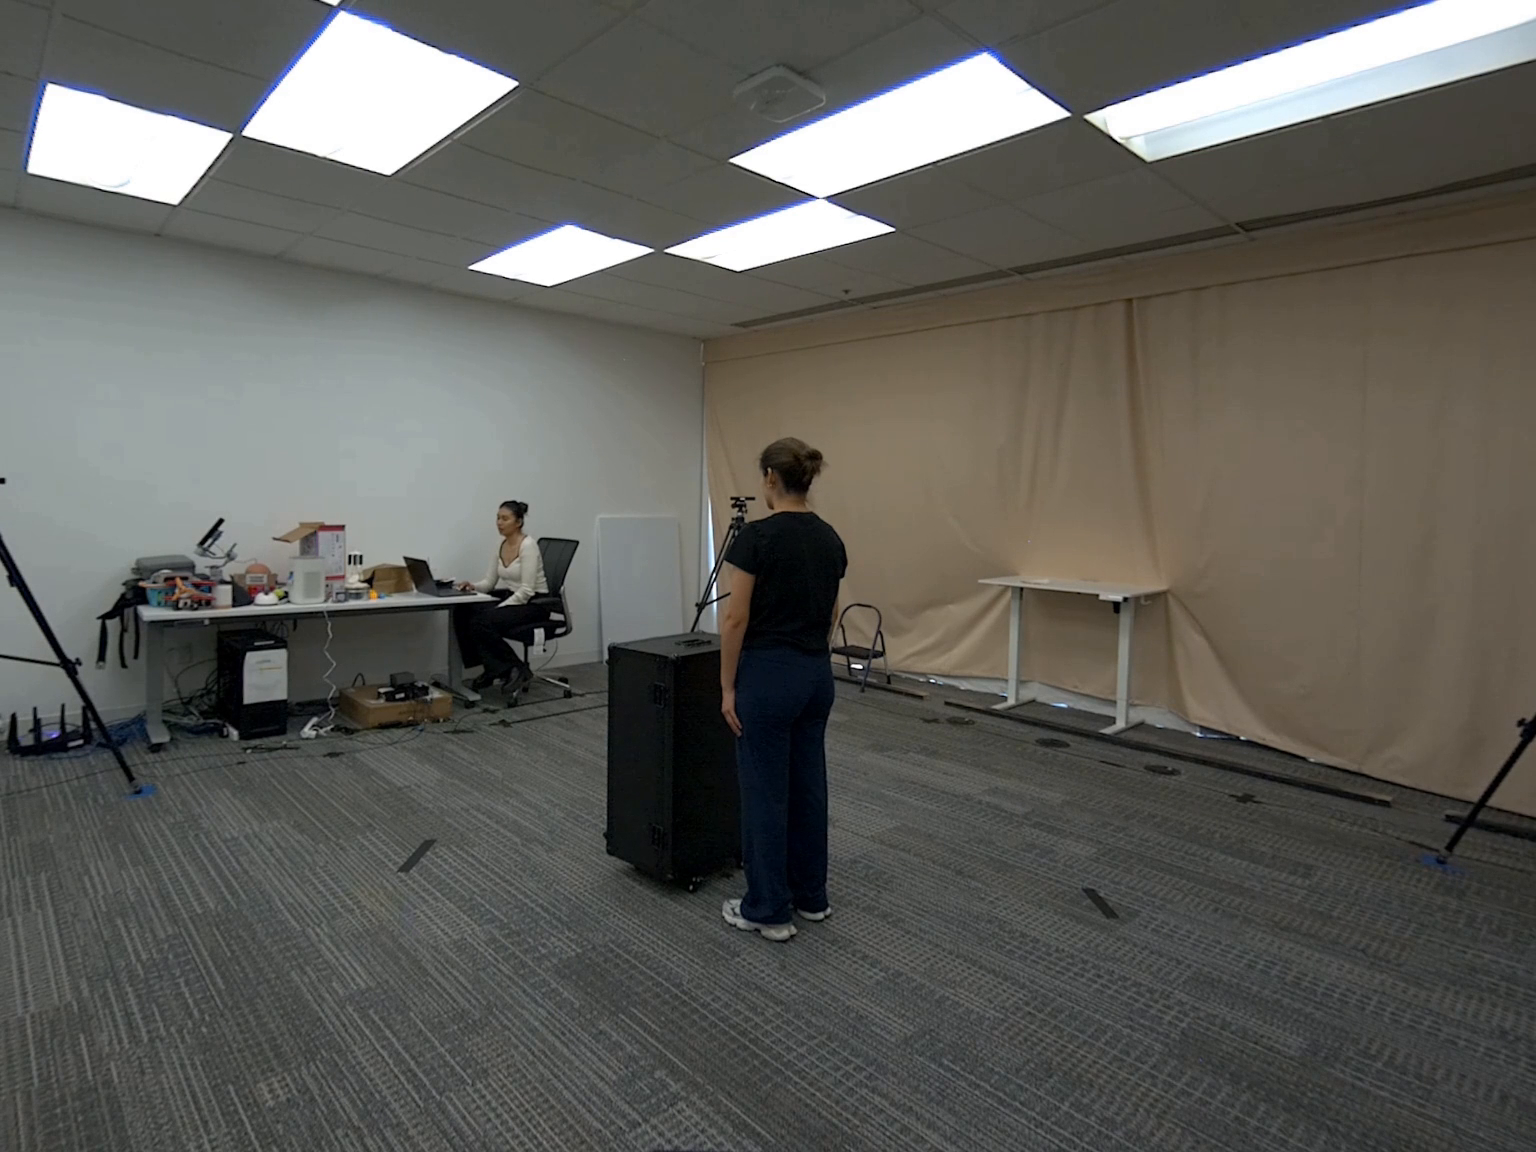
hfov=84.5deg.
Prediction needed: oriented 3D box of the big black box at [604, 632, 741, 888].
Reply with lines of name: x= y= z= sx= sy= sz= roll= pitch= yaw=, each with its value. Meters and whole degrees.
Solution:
big black box: x=-0.320 y=0.678 z=3.145 sx=0.406 sy=0.860 sz=0.509 roll=2 pitch=3 yaw=42
